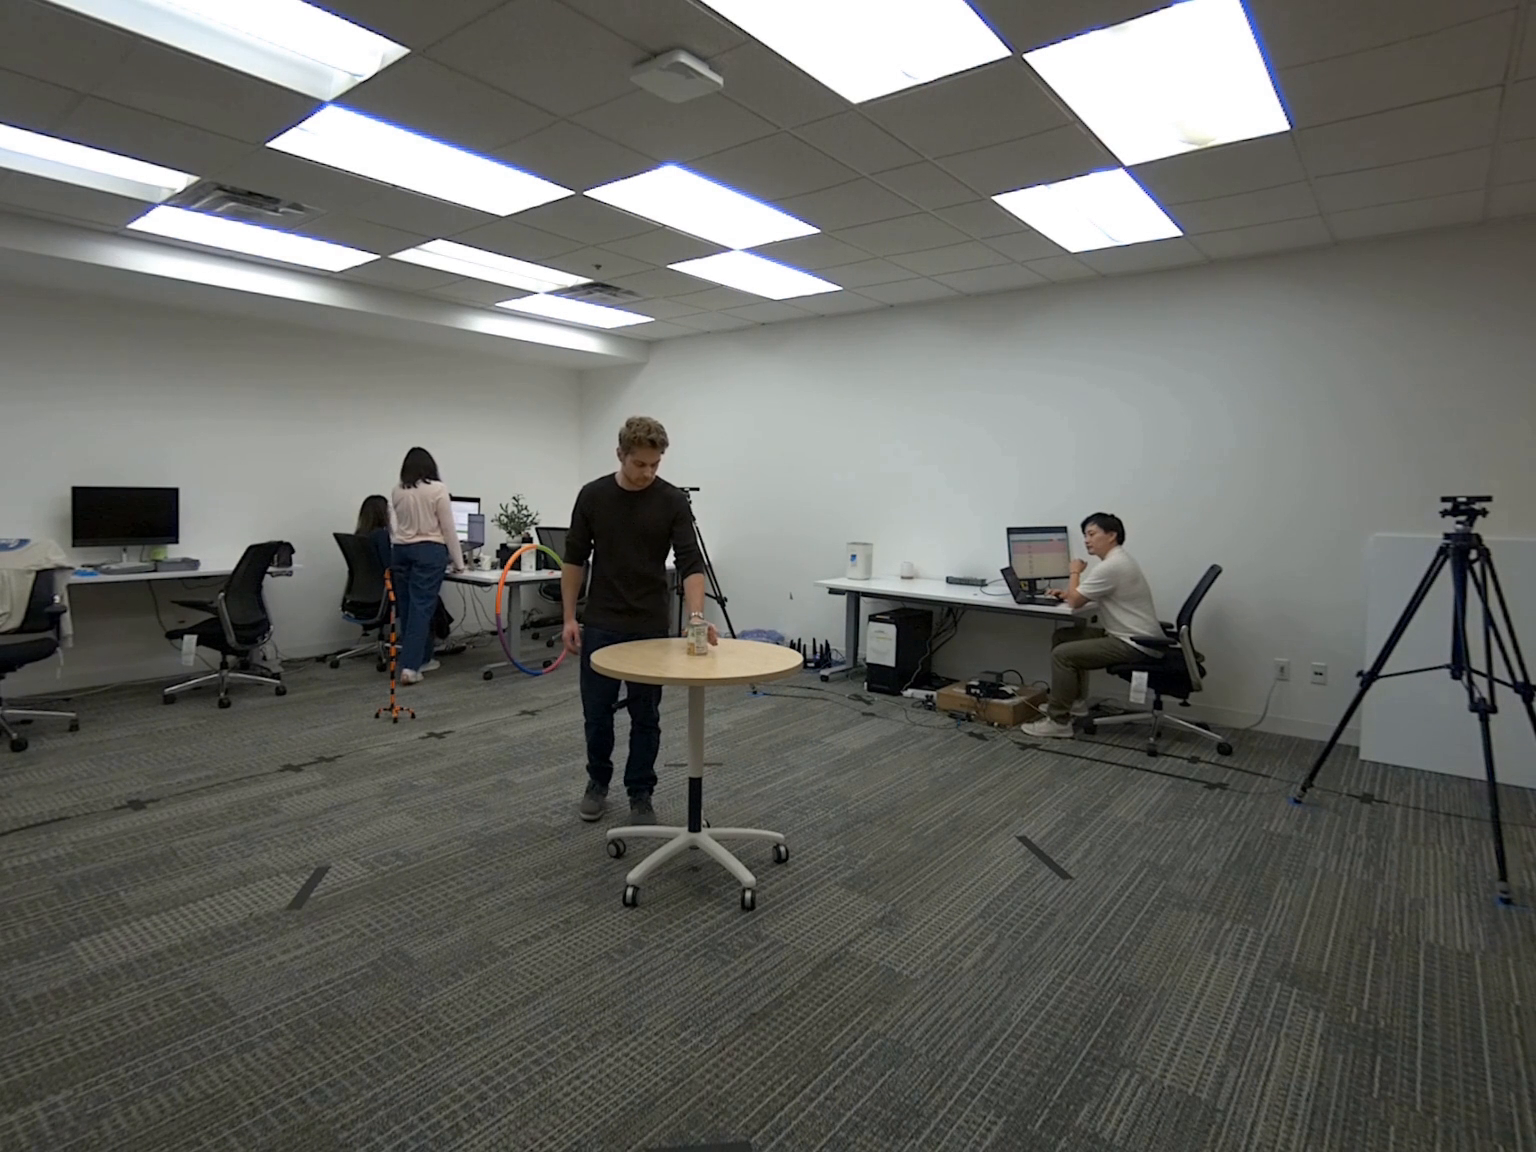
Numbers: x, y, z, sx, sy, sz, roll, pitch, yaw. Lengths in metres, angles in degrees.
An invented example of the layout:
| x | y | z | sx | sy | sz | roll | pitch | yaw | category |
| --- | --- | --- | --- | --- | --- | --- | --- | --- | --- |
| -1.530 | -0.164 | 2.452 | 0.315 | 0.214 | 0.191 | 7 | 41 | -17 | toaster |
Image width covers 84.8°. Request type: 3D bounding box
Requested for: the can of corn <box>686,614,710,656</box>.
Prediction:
| x | y | z | sx | sy | sz | roll | pitch | yaw | category |
| --- | --- | --- | --- | --- | --- | --- | --- | --- | --- |
| -0.271 | 0.224 | 3.109 | 0.074 | 0.111 | 0.074 | 3 | 1 | -2 | can of corn |
